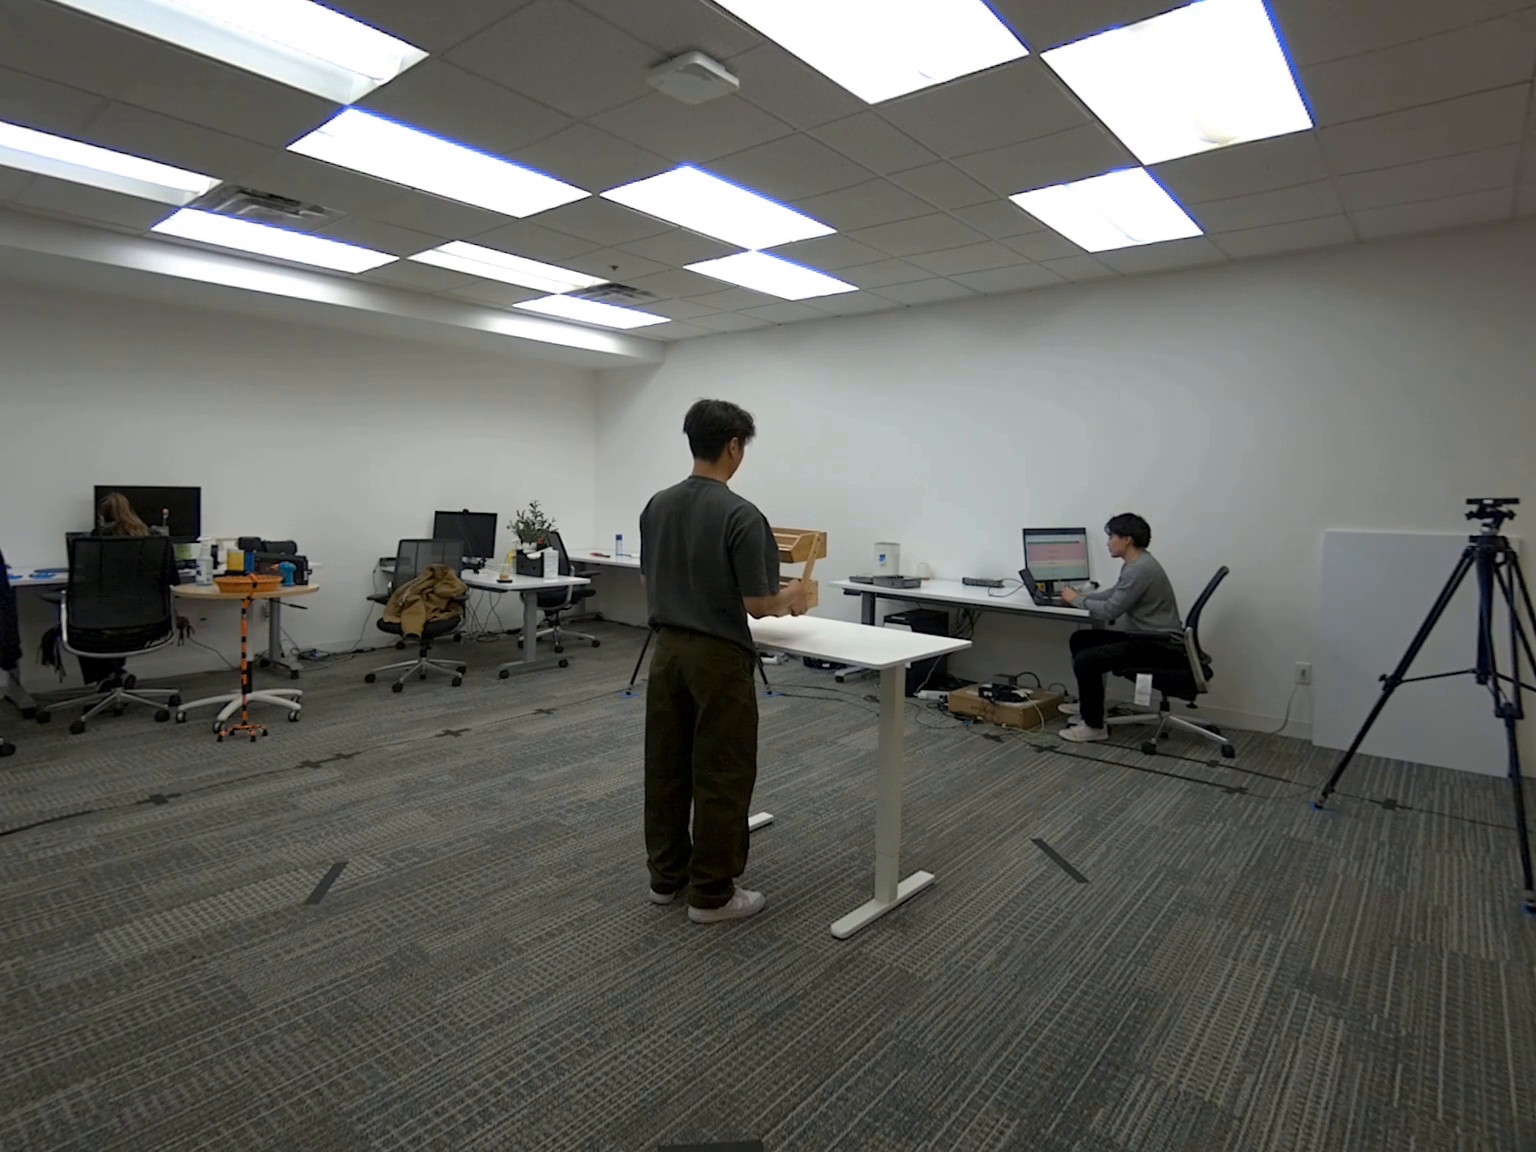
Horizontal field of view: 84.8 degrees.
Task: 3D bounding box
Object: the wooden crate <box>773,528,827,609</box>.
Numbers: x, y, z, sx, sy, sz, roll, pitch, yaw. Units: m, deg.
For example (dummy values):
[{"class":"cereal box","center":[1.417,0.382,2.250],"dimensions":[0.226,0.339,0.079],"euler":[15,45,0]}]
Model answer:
[{"class":"wooden crate","center":[-0.008,-0.025,2.992],"dimensions":[0.336,0.271,0.294],"euler":[7,12,40]}]
